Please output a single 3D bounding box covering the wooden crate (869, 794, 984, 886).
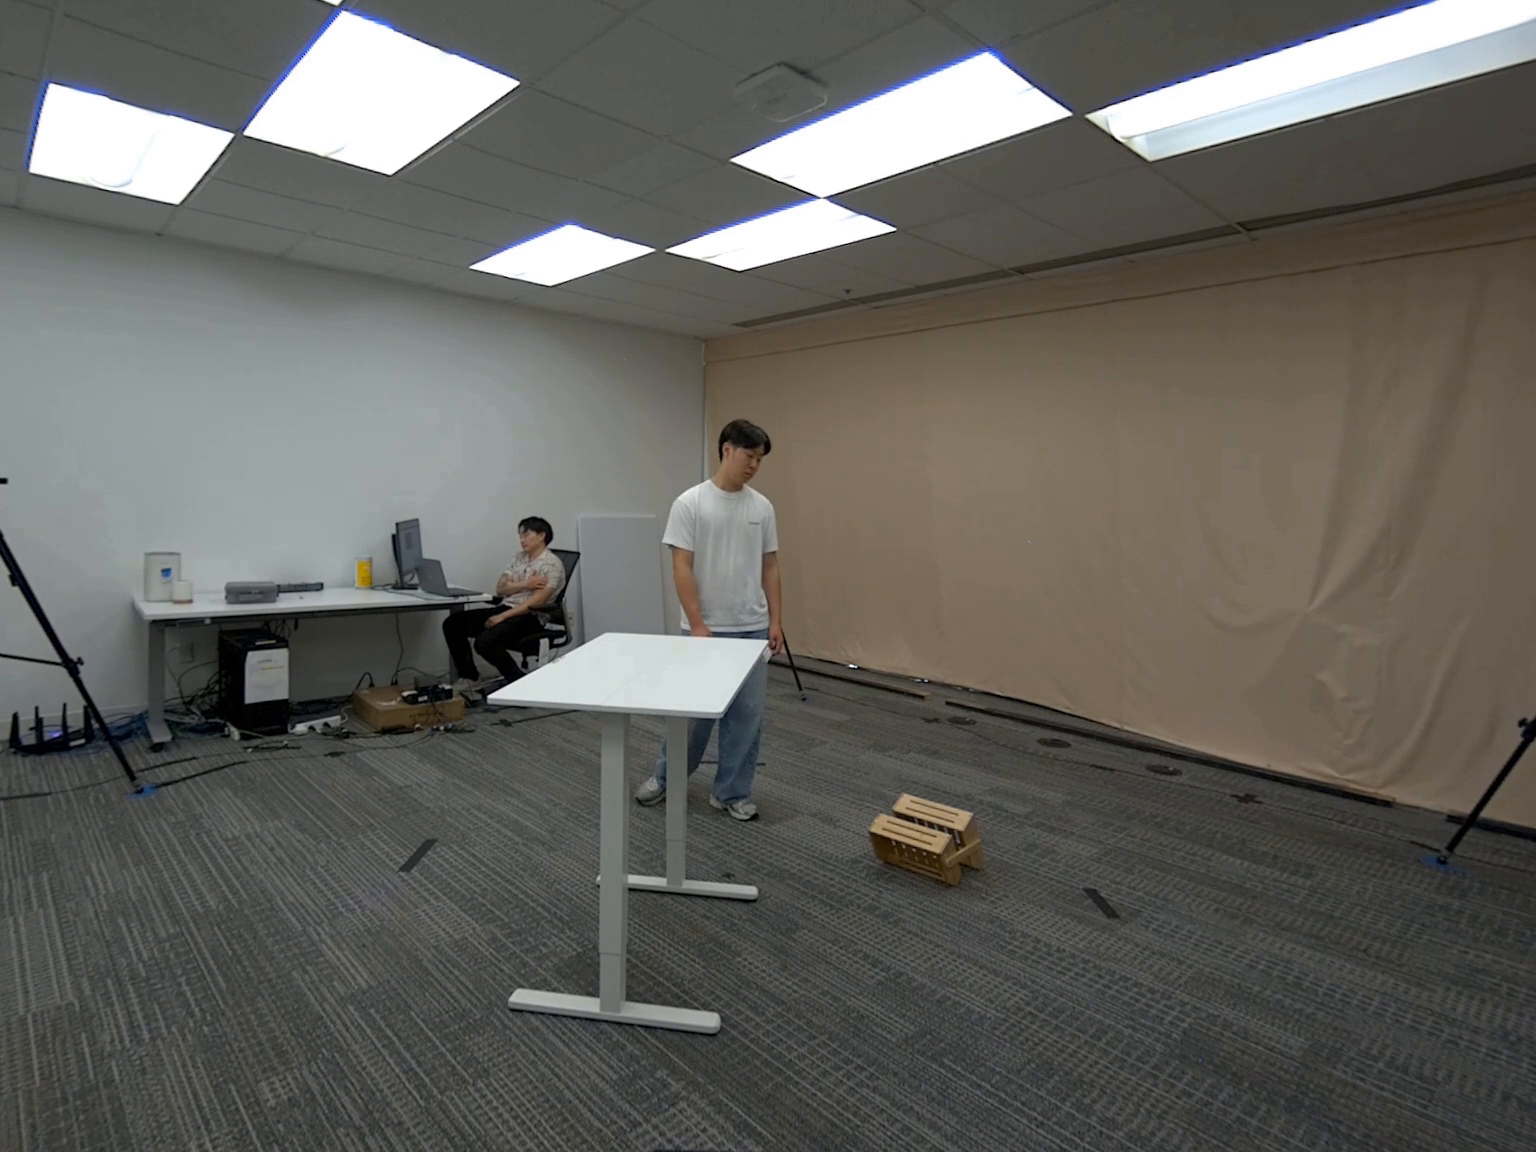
[{"bbox_3d":[0.594,1.028,3.193,0.332,0.296,0.272,5,33,40],"label":"wooden crate"}]
